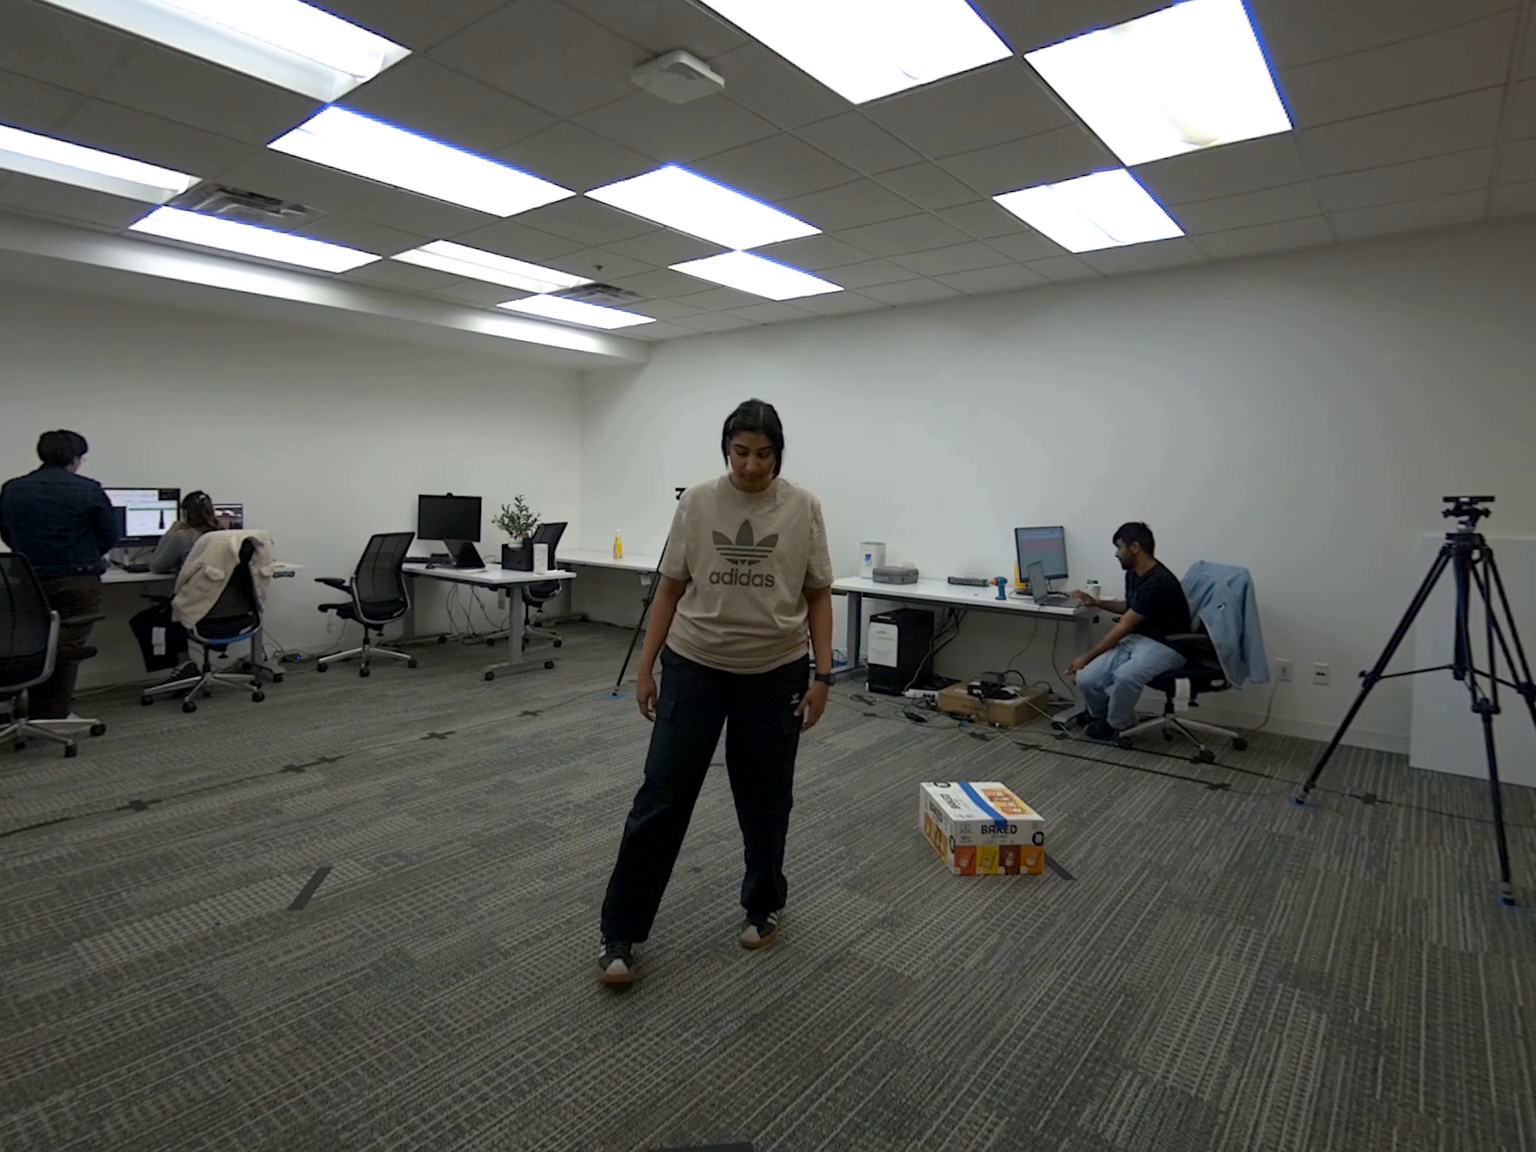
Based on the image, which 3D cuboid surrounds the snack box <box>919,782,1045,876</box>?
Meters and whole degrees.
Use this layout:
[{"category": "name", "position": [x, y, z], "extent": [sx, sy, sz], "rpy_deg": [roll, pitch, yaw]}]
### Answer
[{"category": "snack box", "position": [0.813, 0.974, 3.309], "extent": [0.338, 0.205, 0.409], "rpy_deg": [1, 5, -6]}]
